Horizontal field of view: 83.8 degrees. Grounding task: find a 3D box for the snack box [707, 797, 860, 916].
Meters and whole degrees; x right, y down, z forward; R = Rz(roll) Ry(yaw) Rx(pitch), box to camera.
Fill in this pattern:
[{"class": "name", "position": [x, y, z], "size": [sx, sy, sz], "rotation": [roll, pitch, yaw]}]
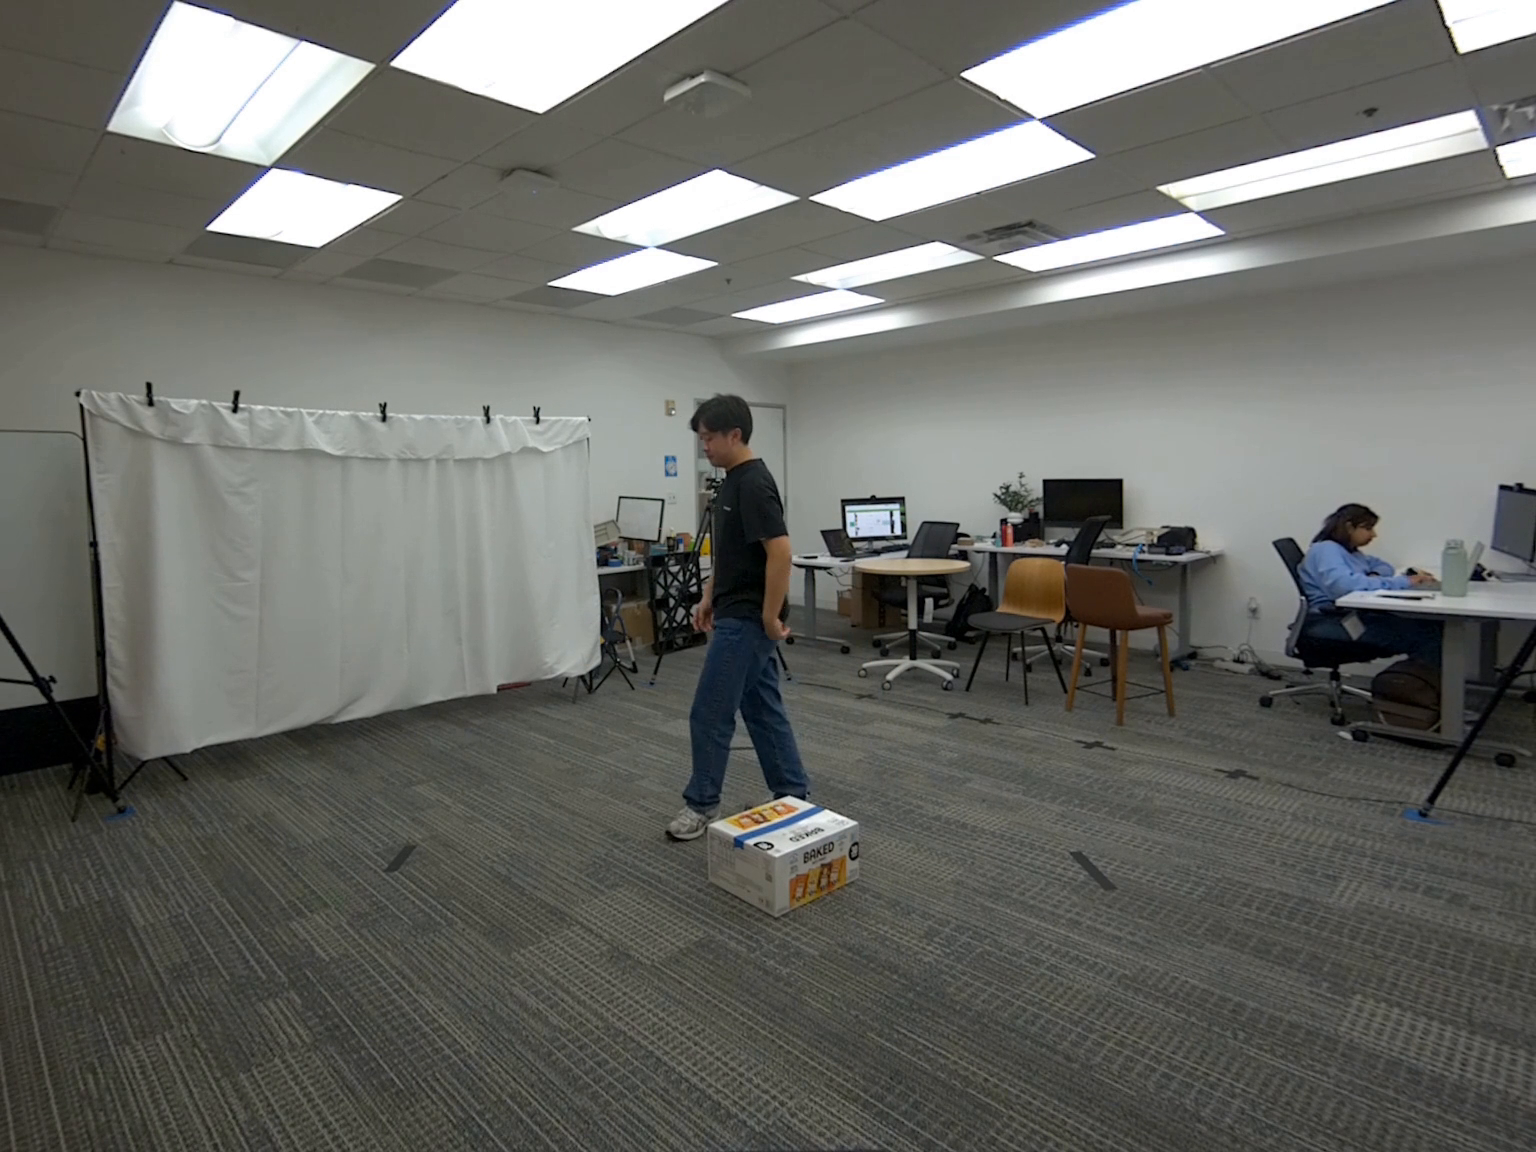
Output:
[{"class": "snack box", "position": [0.055, 0.959, 2.954], "size": [0.394, 0.205, 0.351], "rotation": [-6, 7, -42]}]
